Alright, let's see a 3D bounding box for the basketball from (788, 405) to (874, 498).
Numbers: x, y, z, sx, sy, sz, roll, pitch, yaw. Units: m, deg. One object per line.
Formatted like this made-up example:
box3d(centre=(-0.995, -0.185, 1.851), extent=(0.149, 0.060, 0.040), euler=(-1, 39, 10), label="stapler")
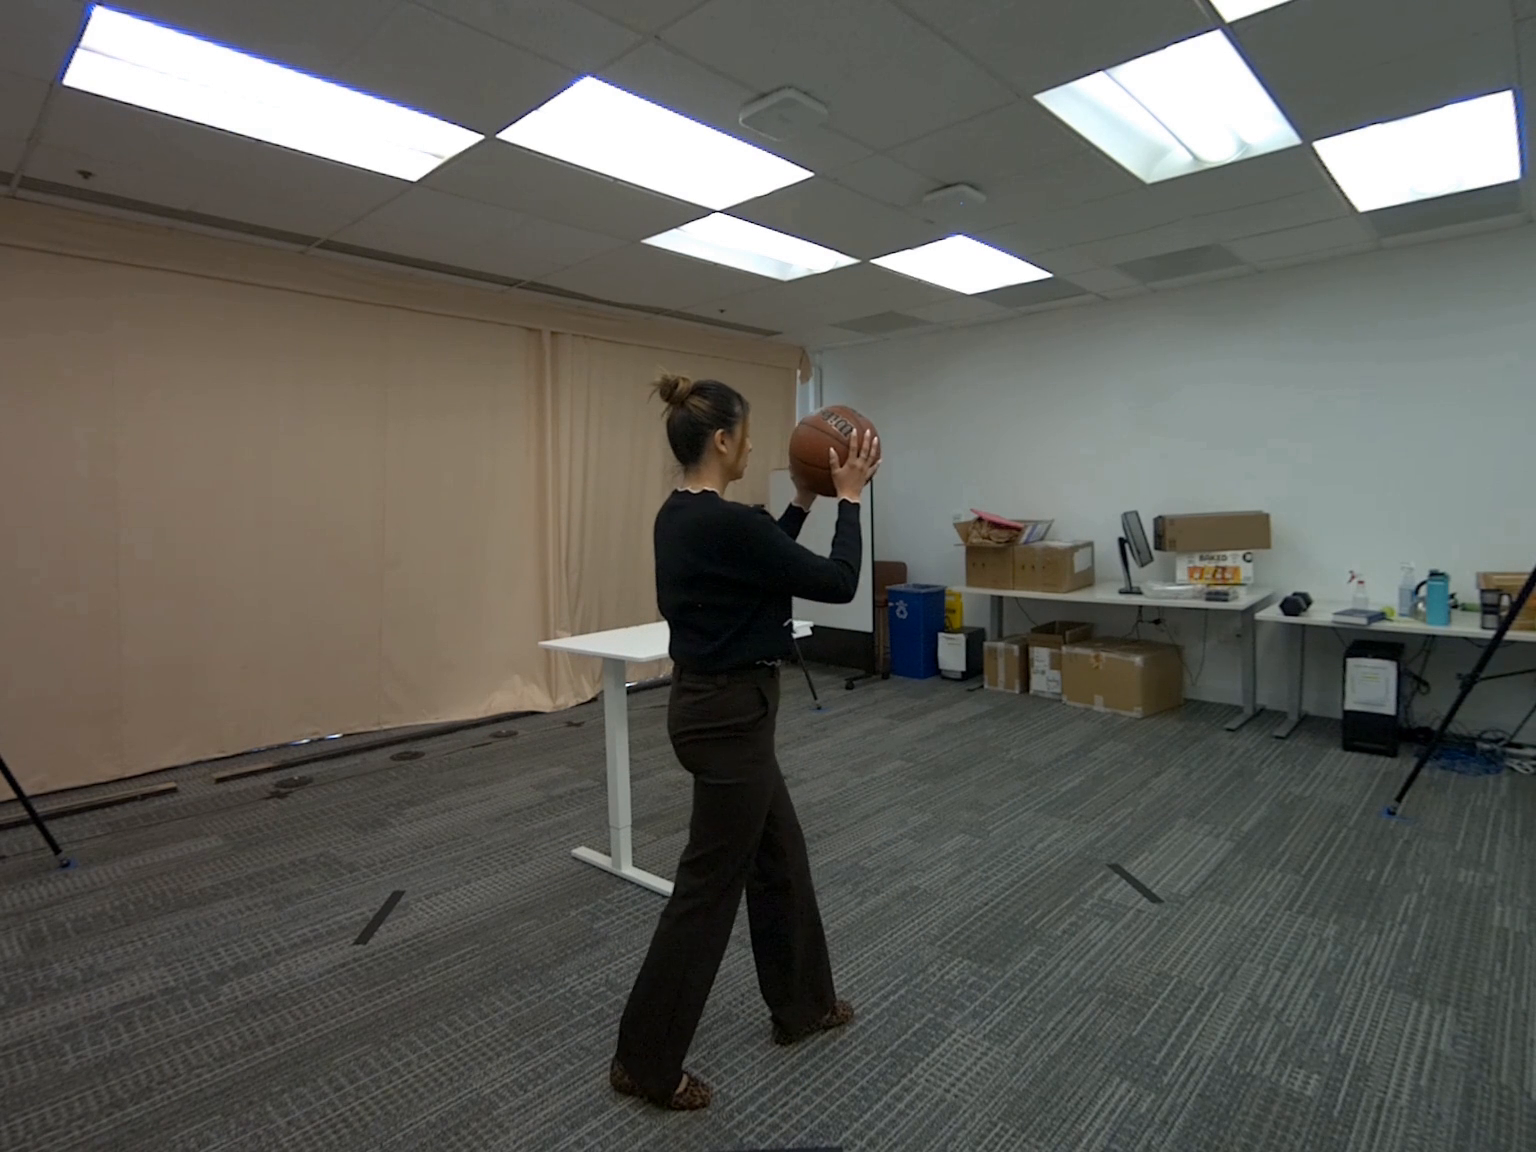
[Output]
box3d(centre=(0.179, -0.326, 2.159), extent=(0.236, 0.235, 0.237), euler=(-1, 4, -2), label="basketball")
